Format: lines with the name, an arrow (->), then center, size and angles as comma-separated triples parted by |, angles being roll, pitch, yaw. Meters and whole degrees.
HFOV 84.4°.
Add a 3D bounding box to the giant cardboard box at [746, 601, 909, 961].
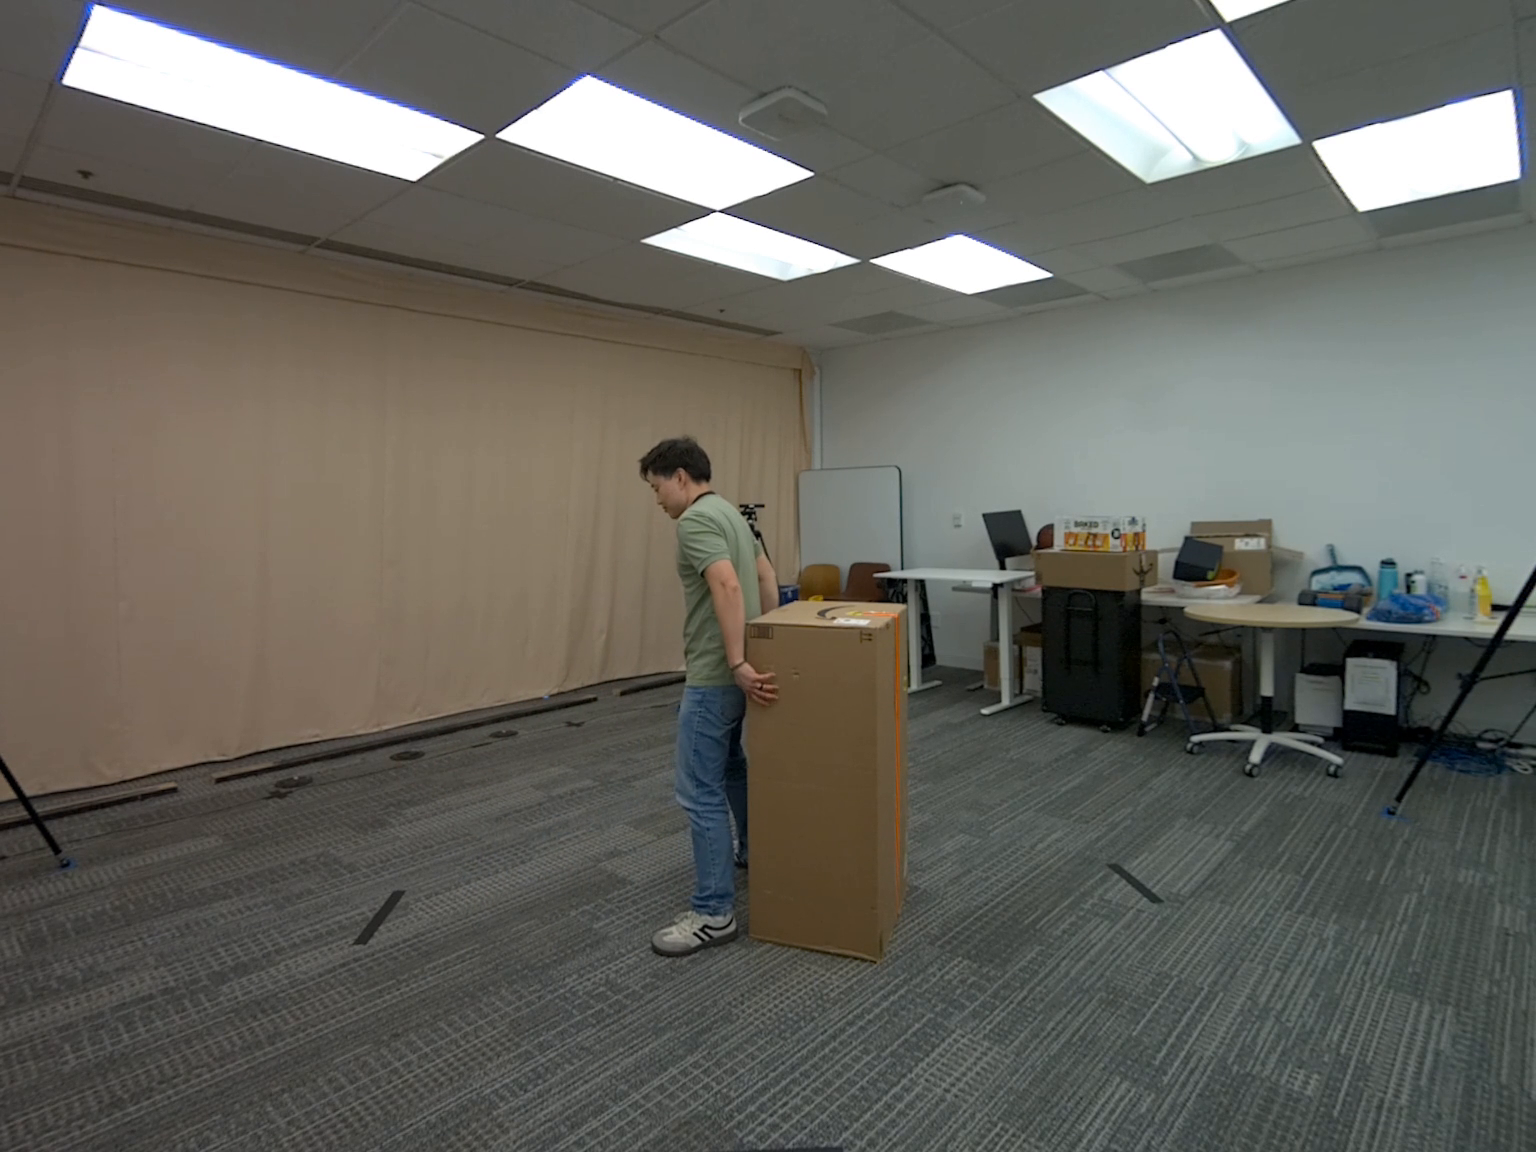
giant cardboard box -> 0.232, 0.633, 2.855 | 0.435, 1.023, 0.566 | 1, 4, 20
